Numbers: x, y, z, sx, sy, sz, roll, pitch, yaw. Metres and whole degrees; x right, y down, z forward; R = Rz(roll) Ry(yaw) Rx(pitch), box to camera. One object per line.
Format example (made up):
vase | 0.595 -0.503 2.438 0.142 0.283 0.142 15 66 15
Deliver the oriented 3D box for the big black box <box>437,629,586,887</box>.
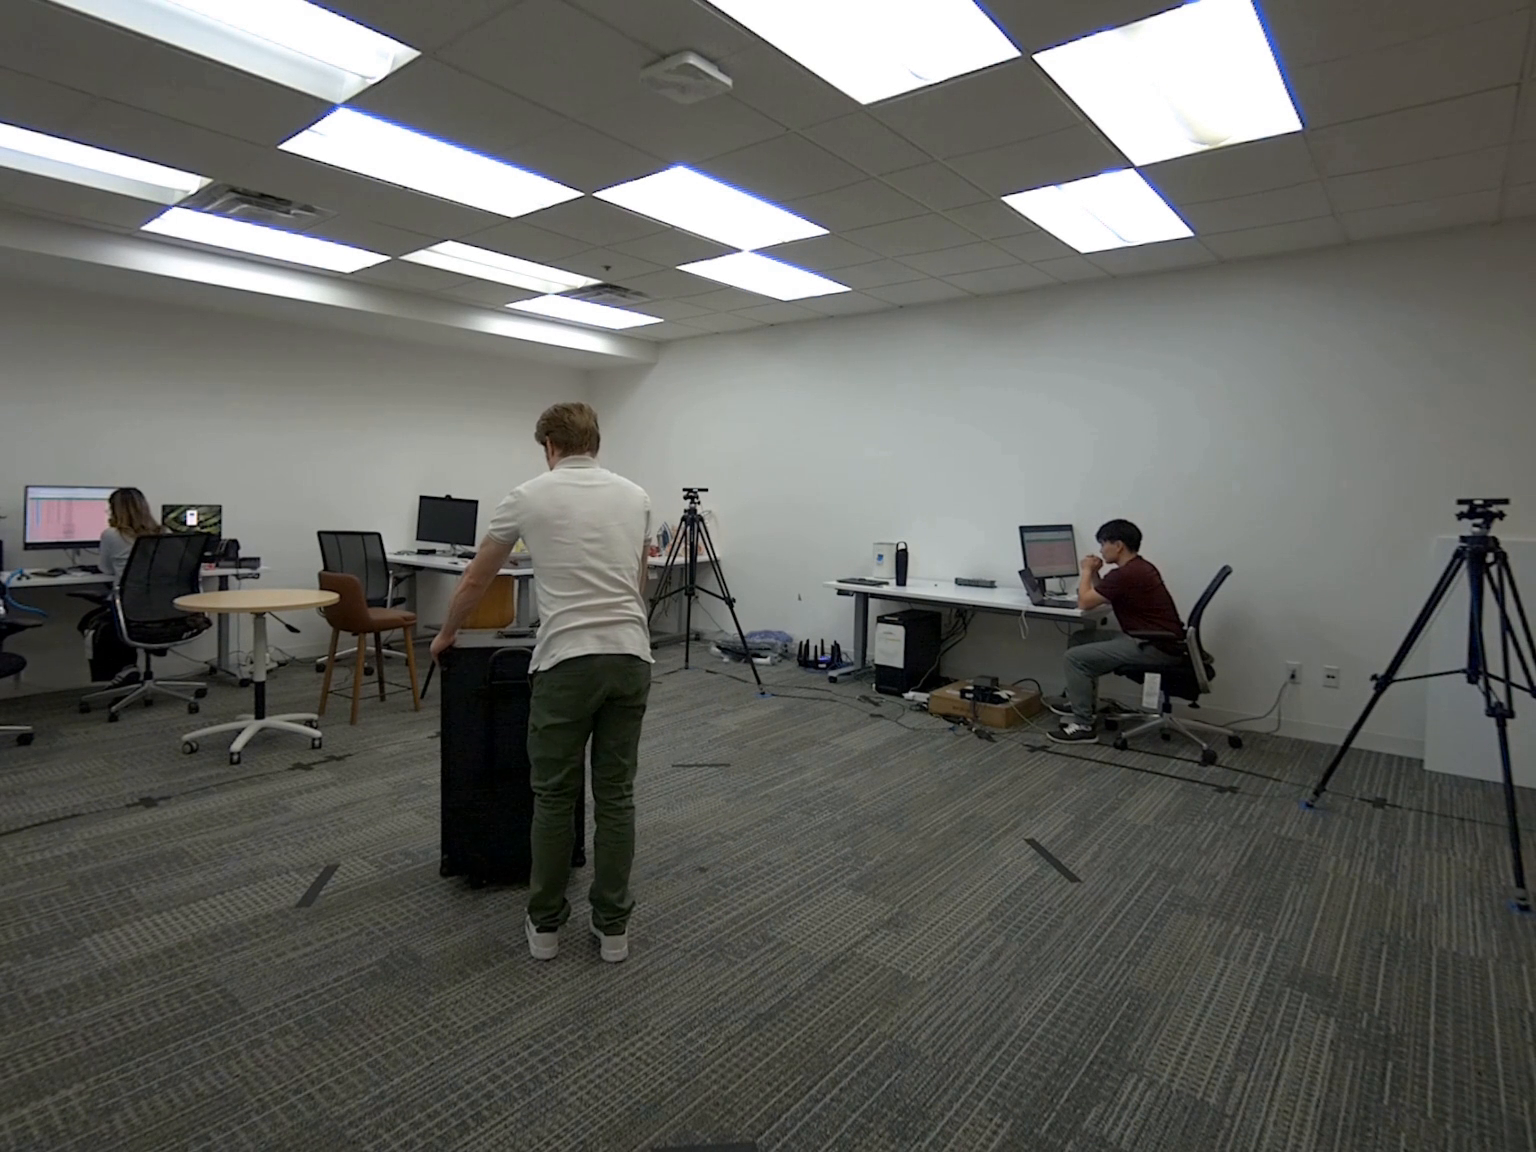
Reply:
big black box | -0.917 0.639 3.043 0.515 0.859 0.402 1 3 -12
